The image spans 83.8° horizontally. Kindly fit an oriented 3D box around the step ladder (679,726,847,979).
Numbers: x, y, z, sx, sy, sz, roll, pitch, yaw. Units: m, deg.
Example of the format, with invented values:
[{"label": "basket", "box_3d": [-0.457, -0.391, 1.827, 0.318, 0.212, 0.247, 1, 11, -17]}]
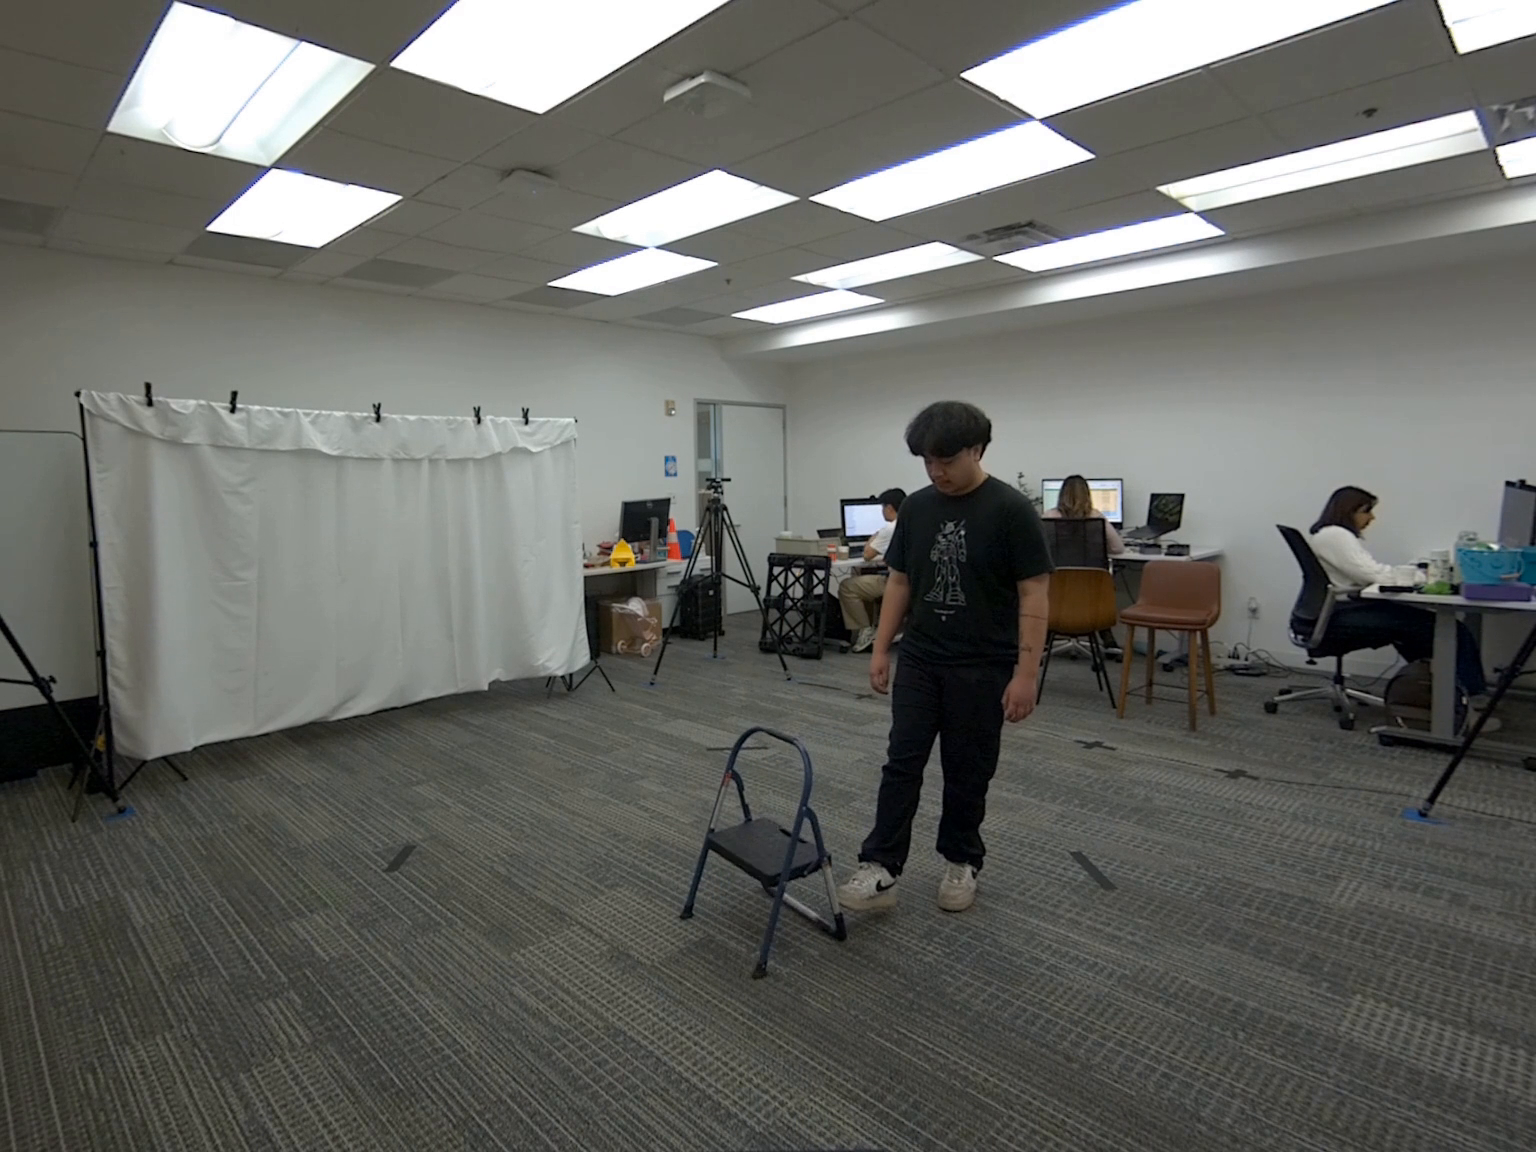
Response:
[{"label": "step ladder", "box_3d": [-0.015, 0.792, 2.634, 0.340, 0.603, 0.443, -4, 6, -35]}]
